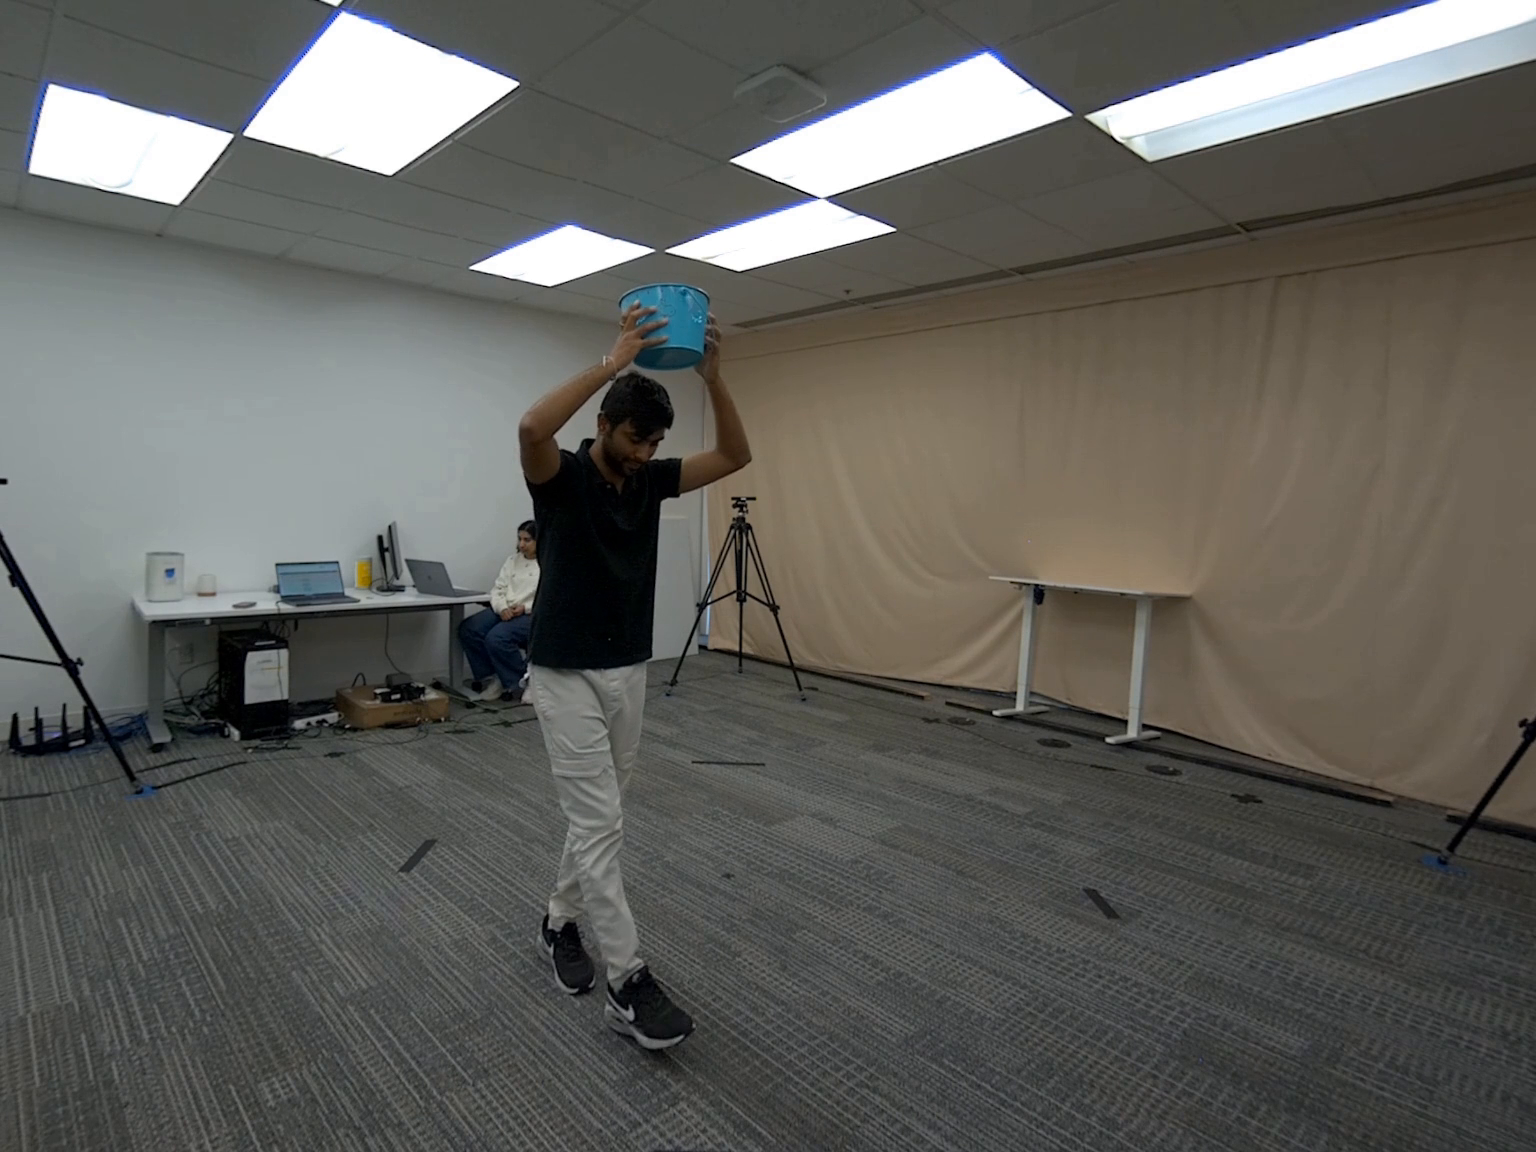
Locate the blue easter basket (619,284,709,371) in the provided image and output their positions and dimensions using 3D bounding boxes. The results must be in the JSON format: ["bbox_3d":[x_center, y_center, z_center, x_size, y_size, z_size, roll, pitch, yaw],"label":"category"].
[{"bbox_3d":[-0.259,-0.631,2.132,0.243,0.156,0.243,-3,-4,-2],"label":"blue easter basket"}]
